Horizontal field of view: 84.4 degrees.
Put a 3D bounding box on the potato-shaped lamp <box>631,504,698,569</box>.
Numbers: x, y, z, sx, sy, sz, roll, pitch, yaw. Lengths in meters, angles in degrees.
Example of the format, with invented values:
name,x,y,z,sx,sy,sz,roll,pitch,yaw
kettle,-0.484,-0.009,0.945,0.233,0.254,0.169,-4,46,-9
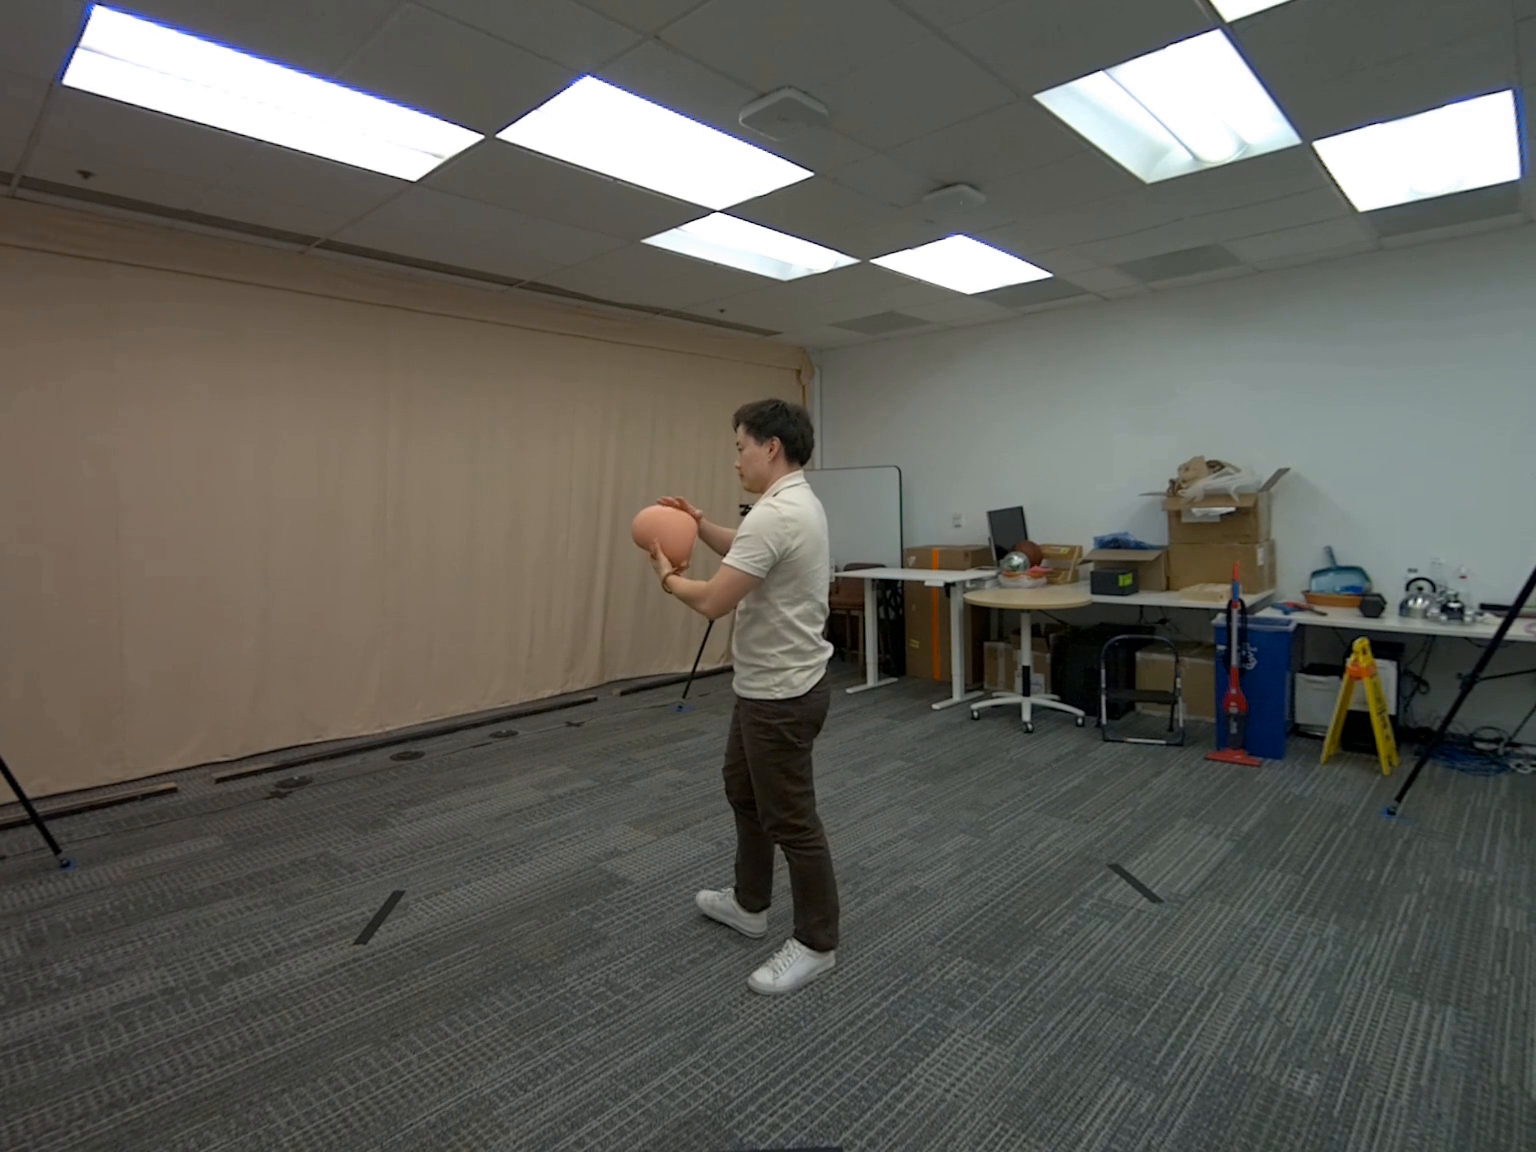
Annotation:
name,x,y,z,sx,sy,sz,roll,pitch,yaw
potato-shaped lamp,-0.304,-0.124,2.525,0.197,0.171,0.166,19,7,-6
